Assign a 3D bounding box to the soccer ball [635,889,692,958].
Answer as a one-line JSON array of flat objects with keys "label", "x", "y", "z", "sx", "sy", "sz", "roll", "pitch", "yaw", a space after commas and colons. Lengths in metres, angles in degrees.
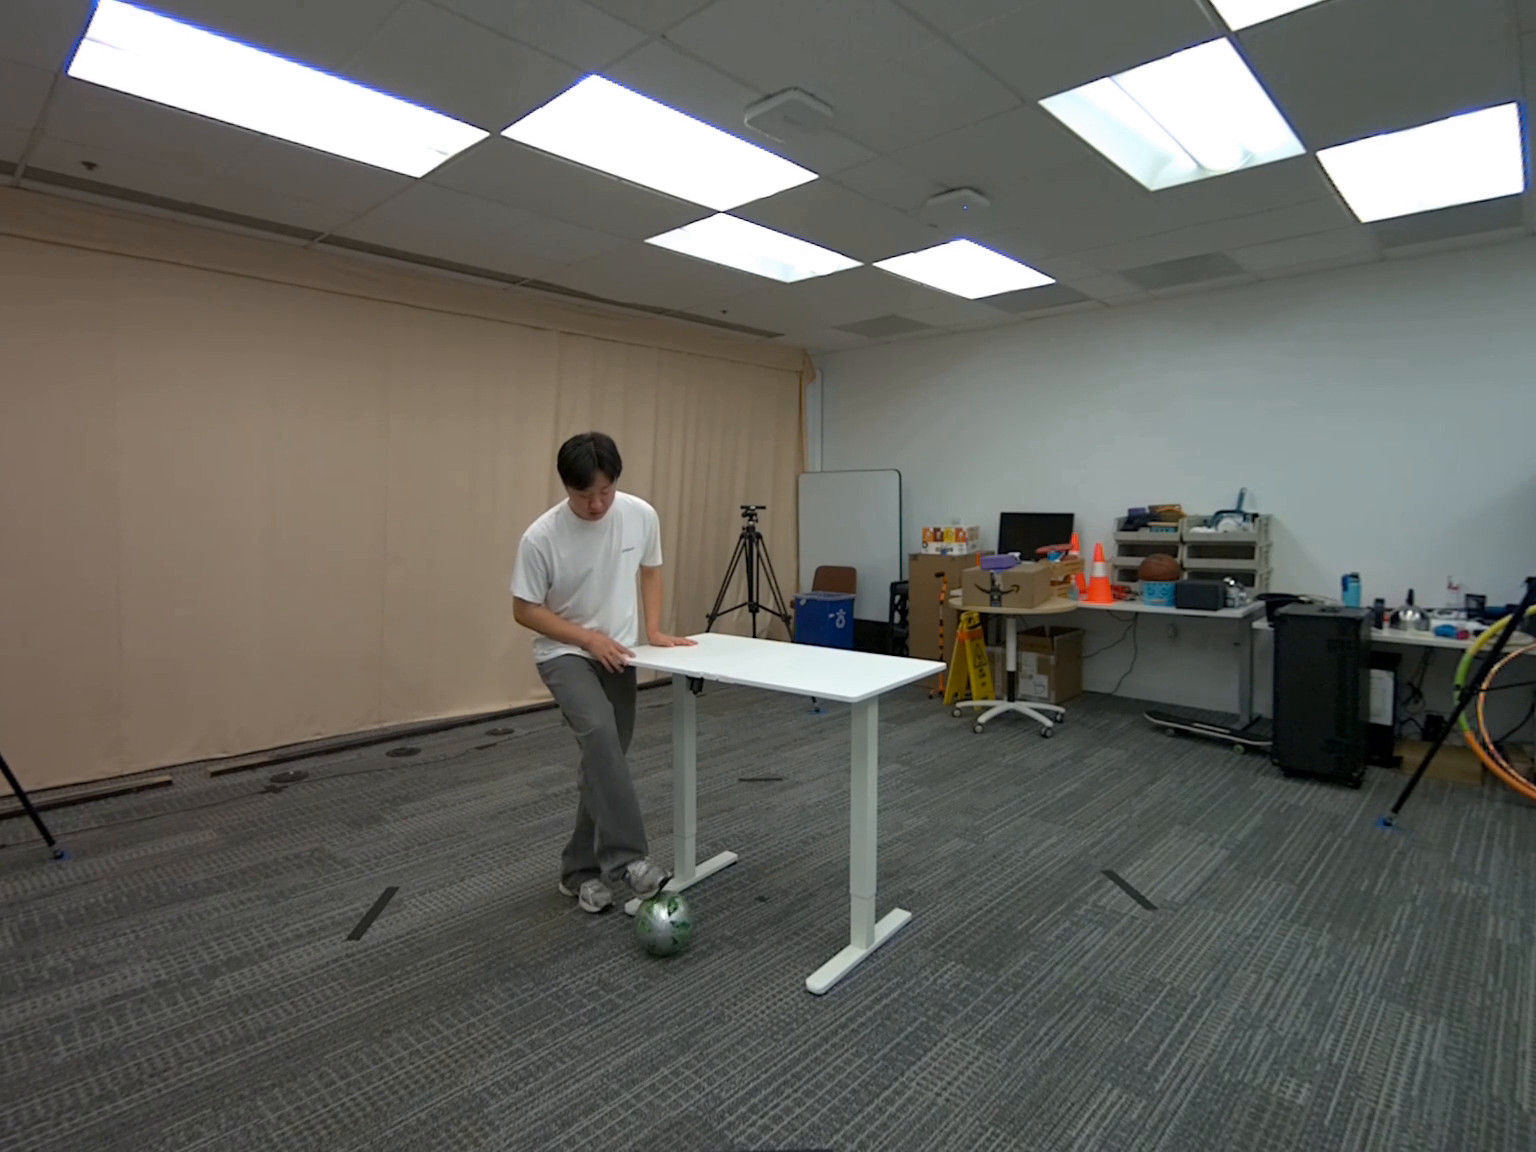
[{"label": "soccer ball", "x": -0.323, "y": 1.079, "z": 2.630, "sx": 0.187, "sy": 0.187, "sz": 0.188, "roll": 0, "pitch": 4, "yaw": -2}]
